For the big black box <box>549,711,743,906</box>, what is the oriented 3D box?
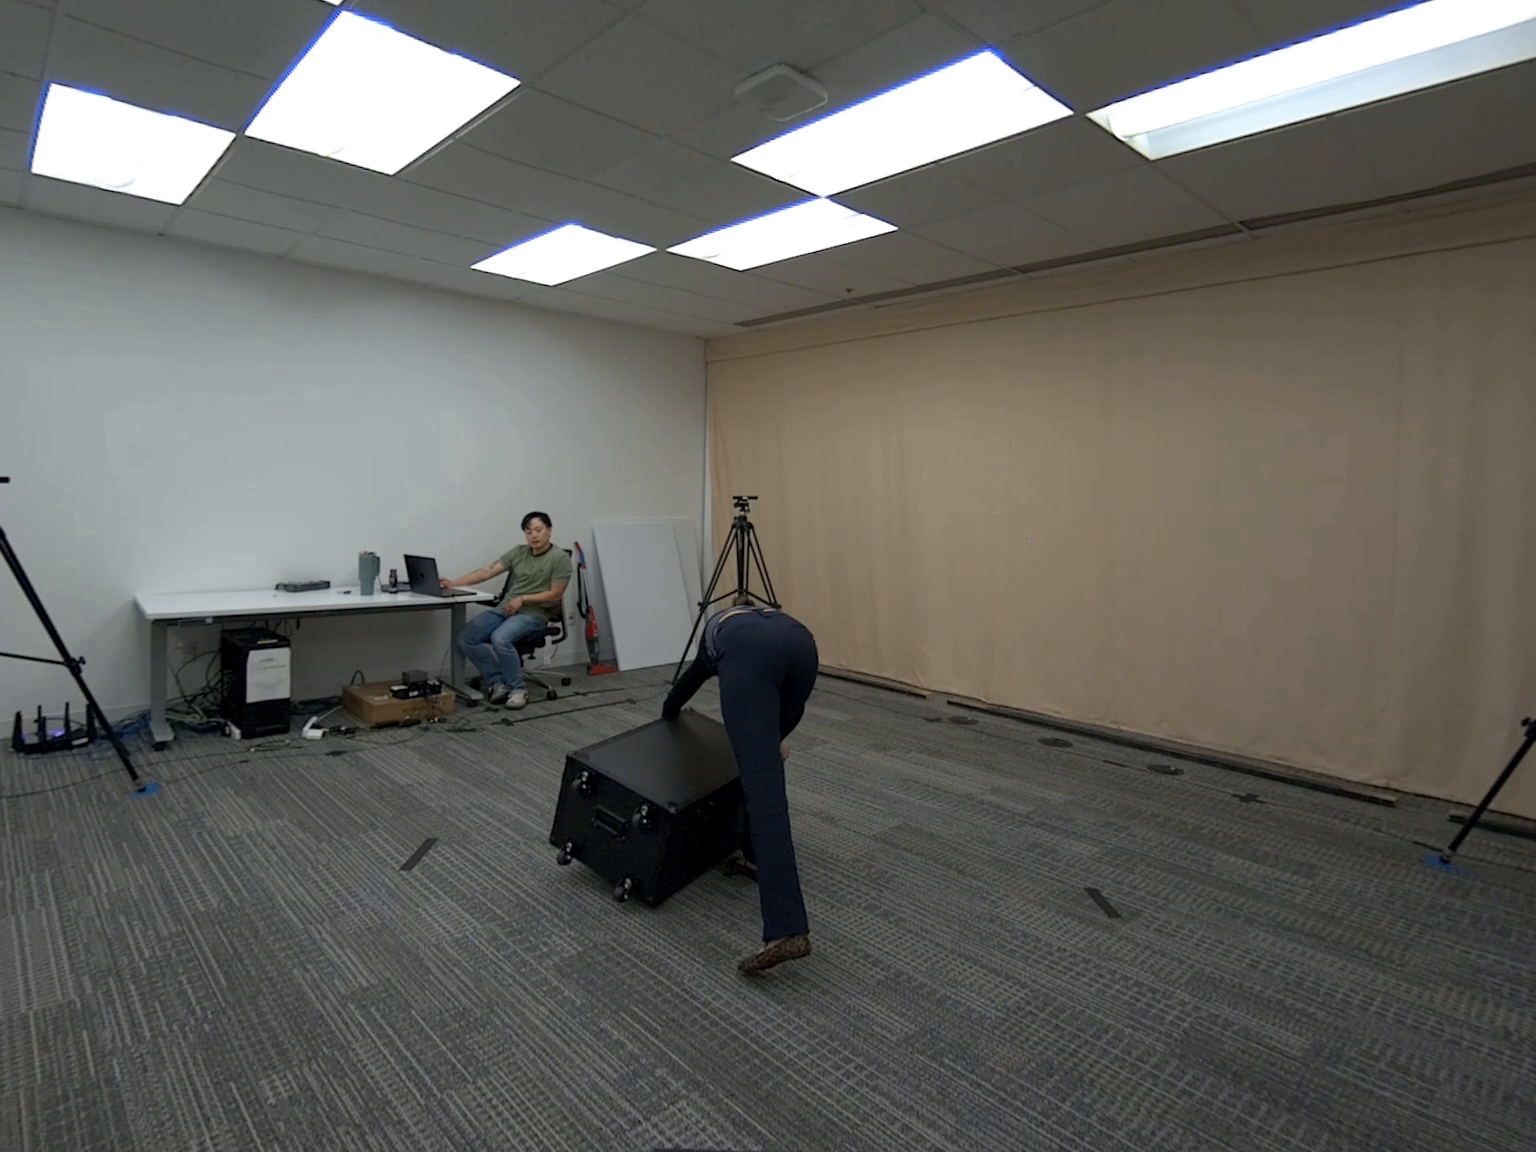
[{"bbox_3d":[-0.395,0.852,3.190,0.534,0.394,0.846,19,13,26],"label":"big black box"}]
